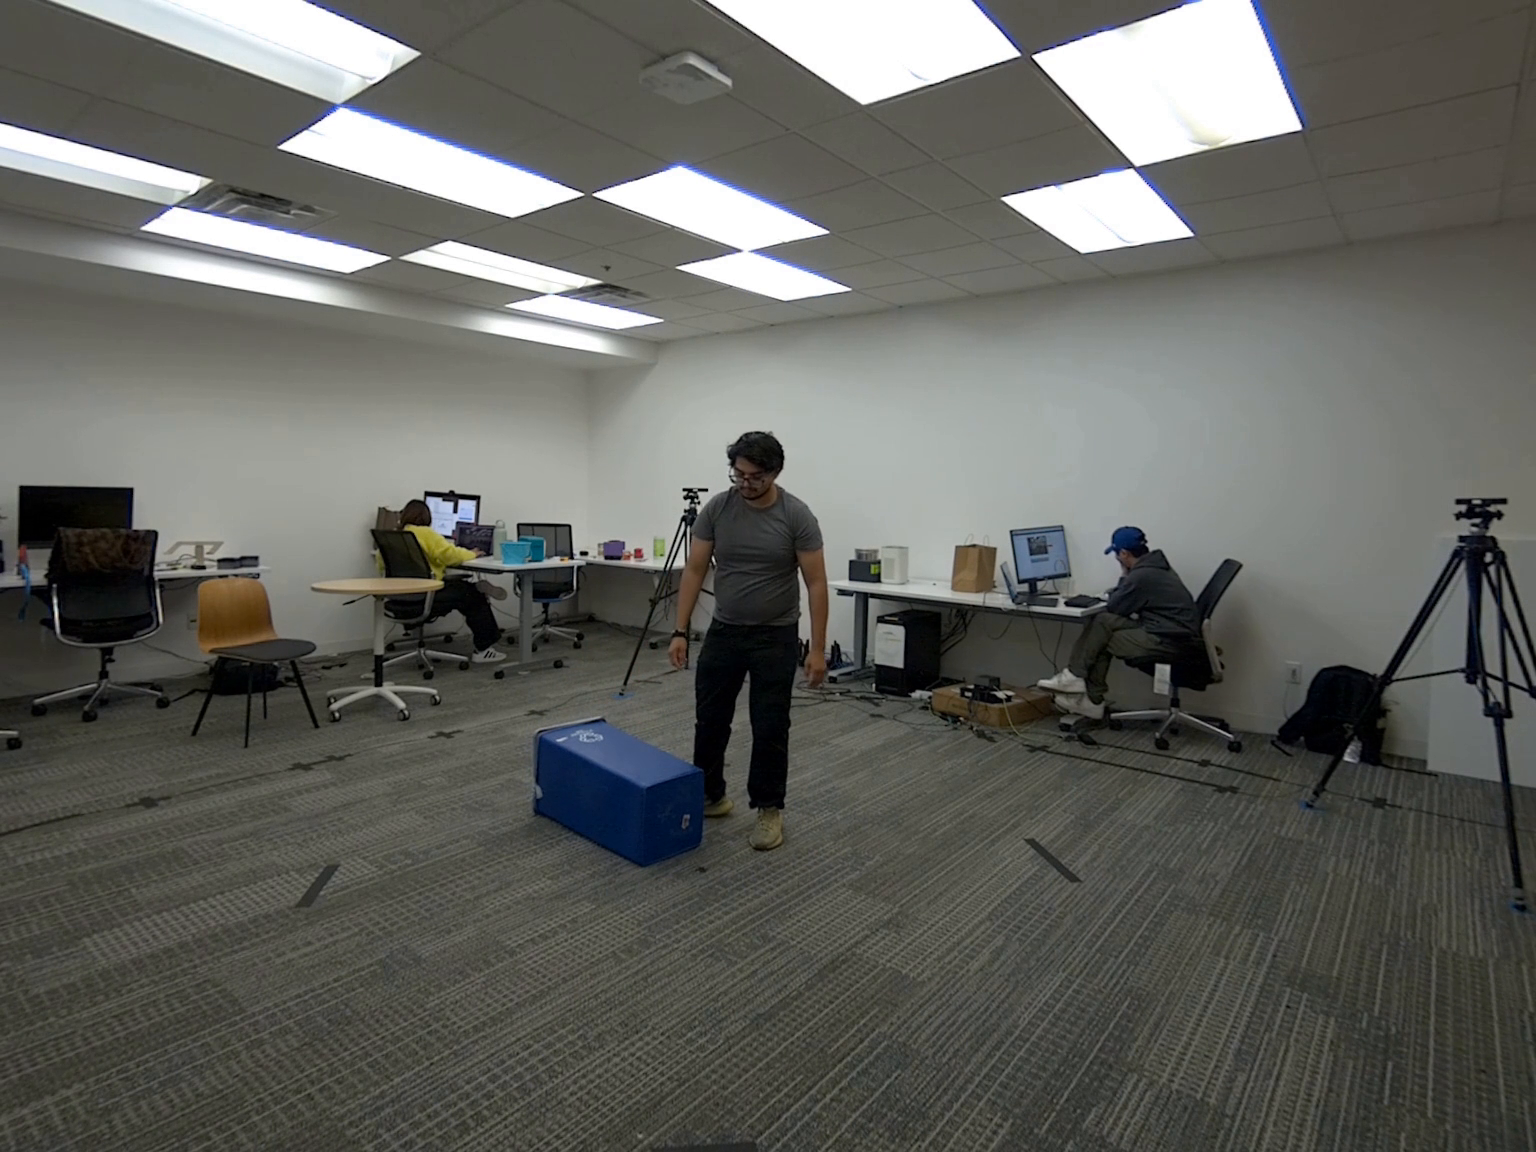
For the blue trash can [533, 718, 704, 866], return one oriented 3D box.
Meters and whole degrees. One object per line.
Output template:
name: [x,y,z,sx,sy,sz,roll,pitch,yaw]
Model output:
blue trash can: [-0.623,0.850,3.454,0.739,0.372,0.366,8,7,44]
